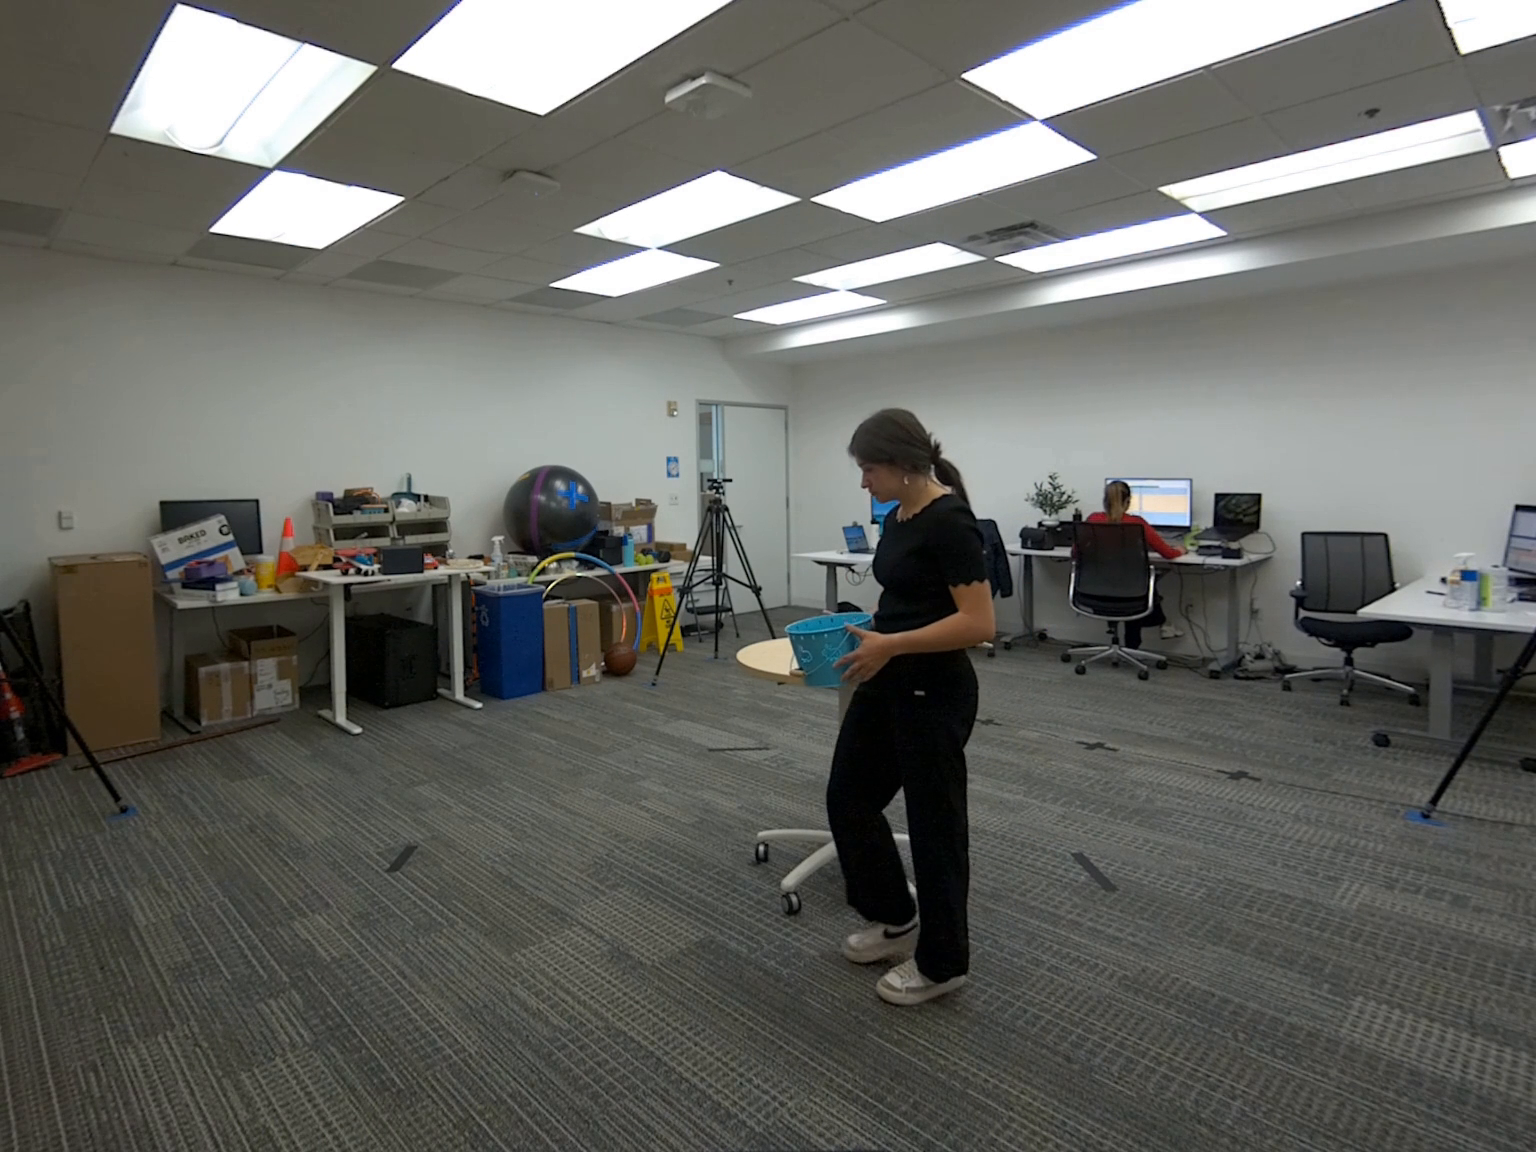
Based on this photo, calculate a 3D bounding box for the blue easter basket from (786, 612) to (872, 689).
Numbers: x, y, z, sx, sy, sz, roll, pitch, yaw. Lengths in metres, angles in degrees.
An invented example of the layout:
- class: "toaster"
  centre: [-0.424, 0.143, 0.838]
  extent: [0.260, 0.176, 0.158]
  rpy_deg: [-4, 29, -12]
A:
- class: "blue easter basket"
  centre: [0.176, 0.197, 2.255]
  extent: [0.243, 0.155, 0.245]
  rpy_deg: [-9, 6, -1]
